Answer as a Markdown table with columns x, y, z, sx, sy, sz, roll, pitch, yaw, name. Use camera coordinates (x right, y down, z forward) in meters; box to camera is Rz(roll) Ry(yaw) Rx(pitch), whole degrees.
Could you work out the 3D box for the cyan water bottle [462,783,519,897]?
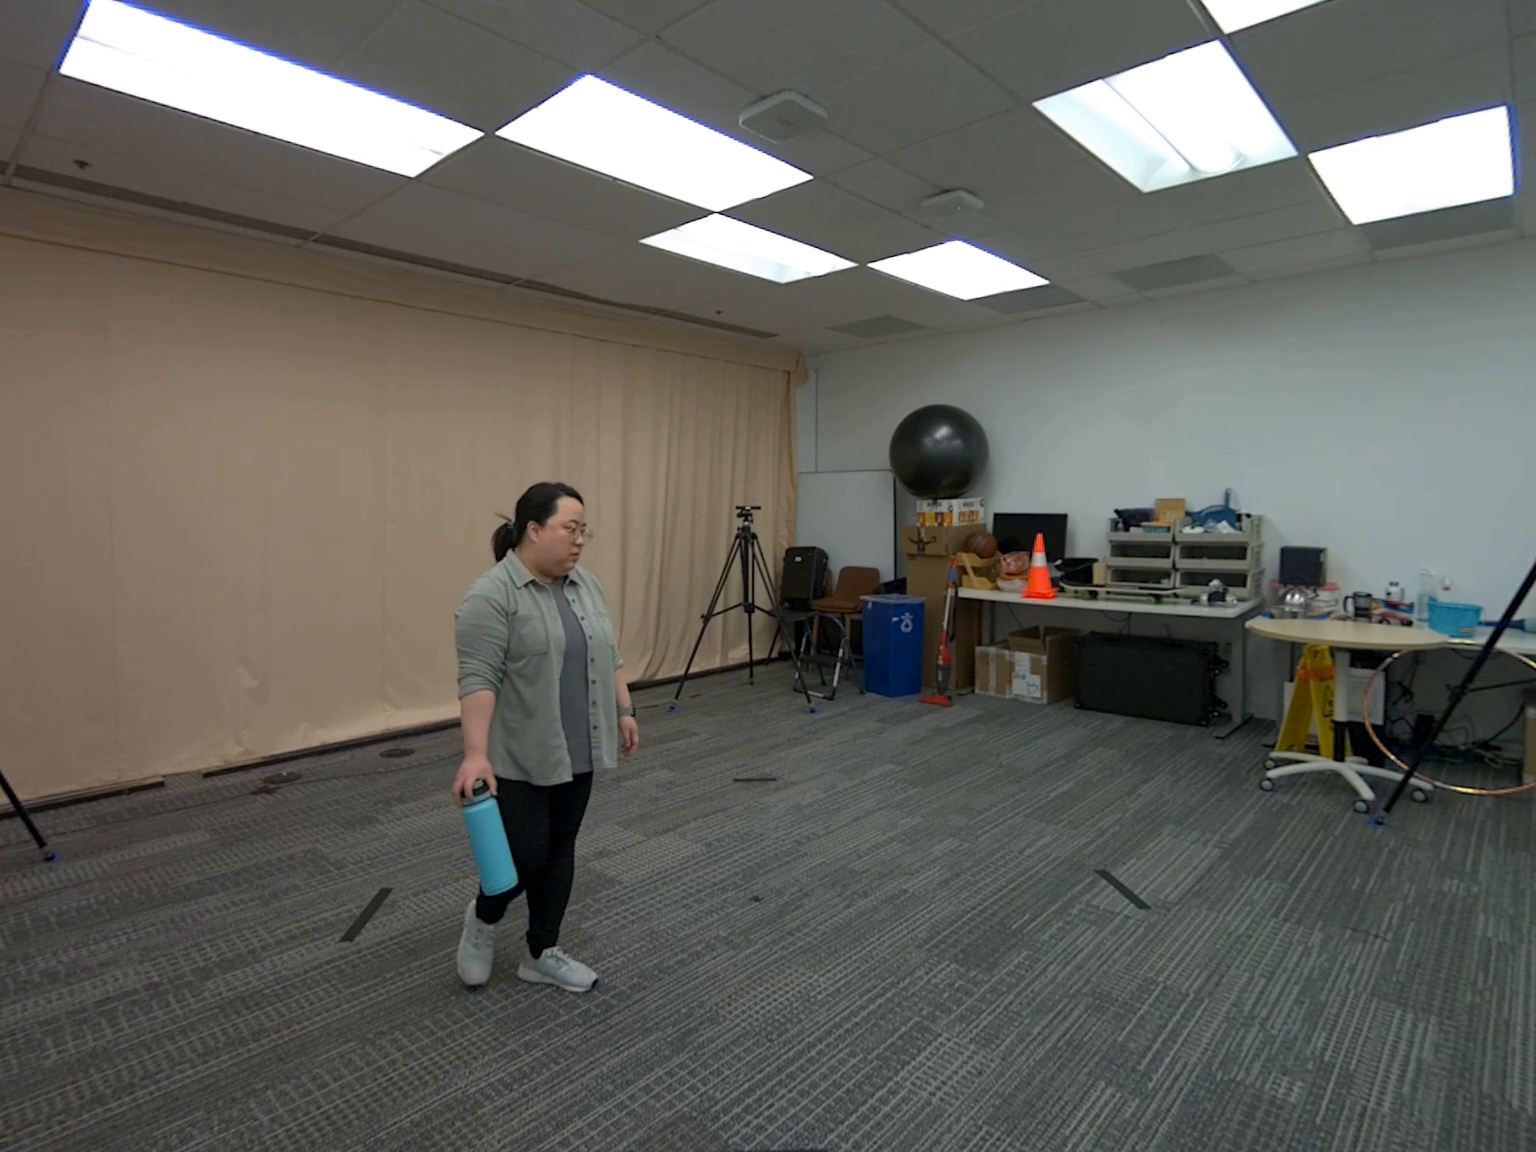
| x | y | z | sx | sy | sz | roll | pitch | yaw | name |
| --- | --- | --- | --- | --- | --- | --- | --- | --- | --- |
| -0.723 | 0.659 | 2.164 | 0.092 | 0.284 | 0.092 | -12 | -1 | -2 | cyan water bottle |
